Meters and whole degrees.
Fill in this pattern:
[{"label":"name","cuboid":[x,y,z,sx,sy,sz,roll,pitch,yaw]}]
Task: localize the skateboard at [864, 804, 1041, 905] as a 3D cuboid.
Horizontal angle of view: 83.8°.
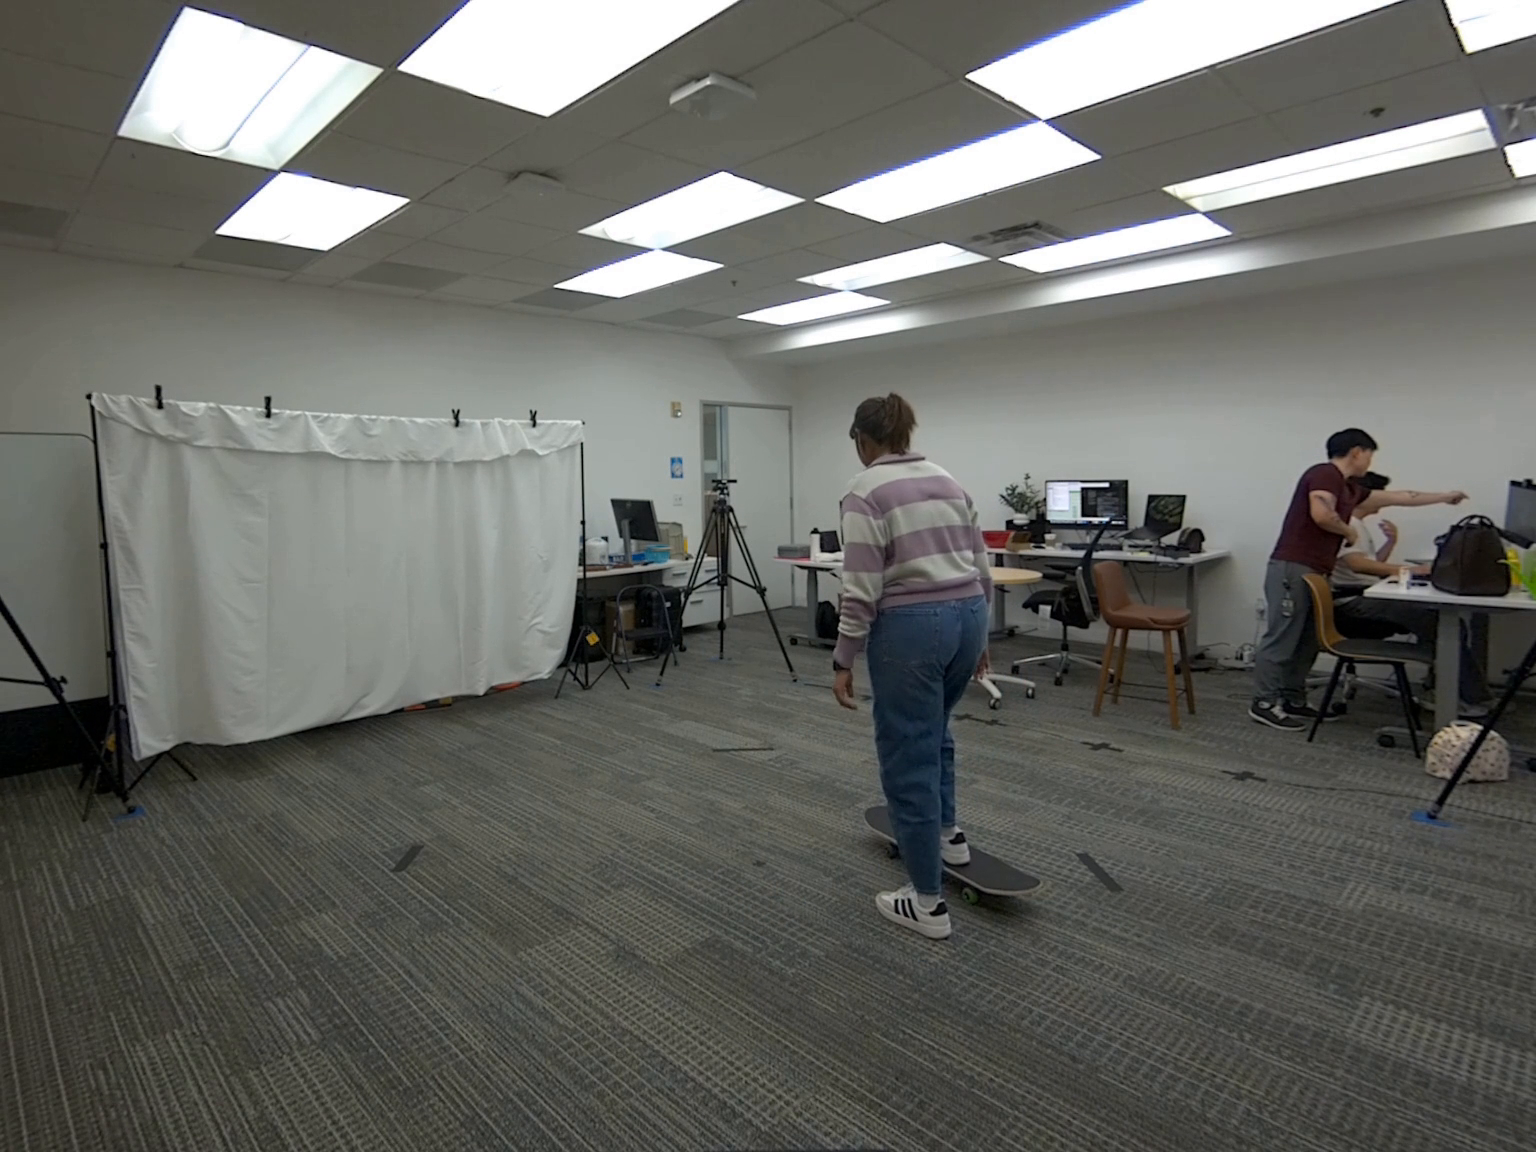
[{"label":"skateboard","cuboid":[0.622,0.991,3.000,0.189,0.110,0.807,-4,7,-30]}]
